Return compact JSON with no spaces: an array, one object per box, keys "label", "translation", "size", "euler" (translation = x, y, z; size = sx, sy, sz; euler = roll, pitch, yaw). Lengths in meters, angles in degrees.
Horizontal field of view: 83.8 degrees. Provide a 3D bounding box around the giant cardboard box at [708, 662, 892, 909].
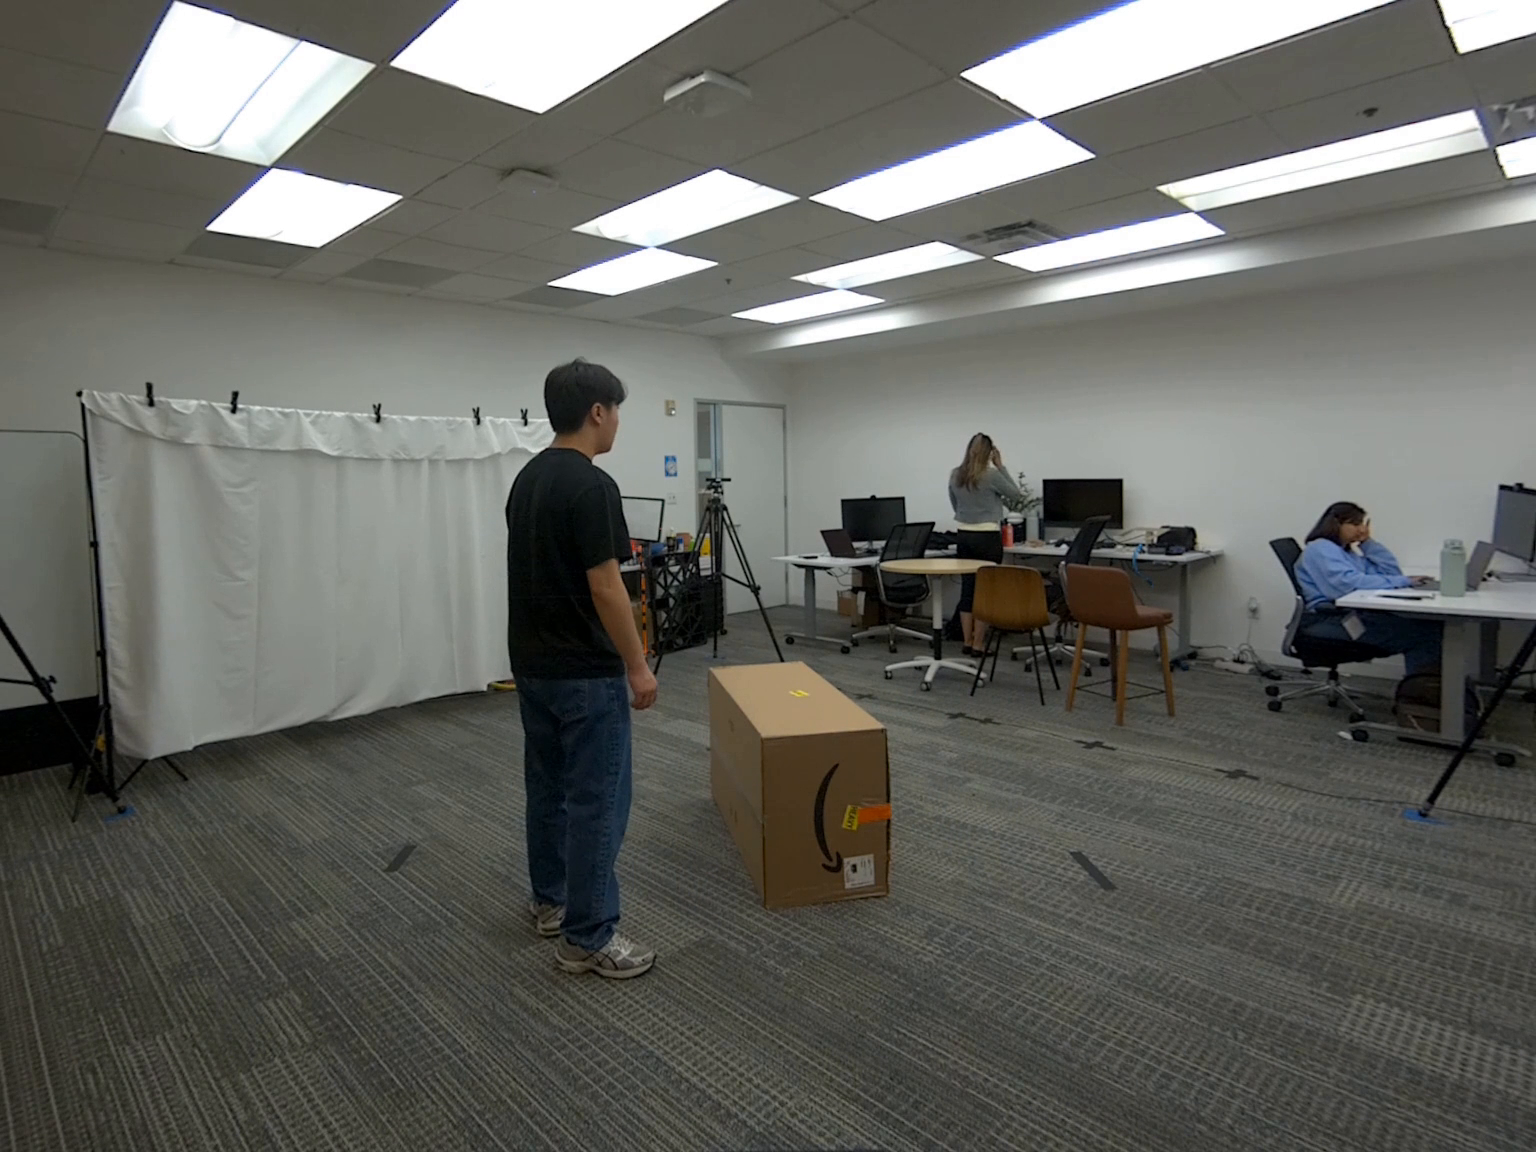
[{"label":"giant cardboard box","translation":[0.076,0.730,3.283],"size":[0.441,0.581,1.044],"euler":[-1,6,-14]}]
